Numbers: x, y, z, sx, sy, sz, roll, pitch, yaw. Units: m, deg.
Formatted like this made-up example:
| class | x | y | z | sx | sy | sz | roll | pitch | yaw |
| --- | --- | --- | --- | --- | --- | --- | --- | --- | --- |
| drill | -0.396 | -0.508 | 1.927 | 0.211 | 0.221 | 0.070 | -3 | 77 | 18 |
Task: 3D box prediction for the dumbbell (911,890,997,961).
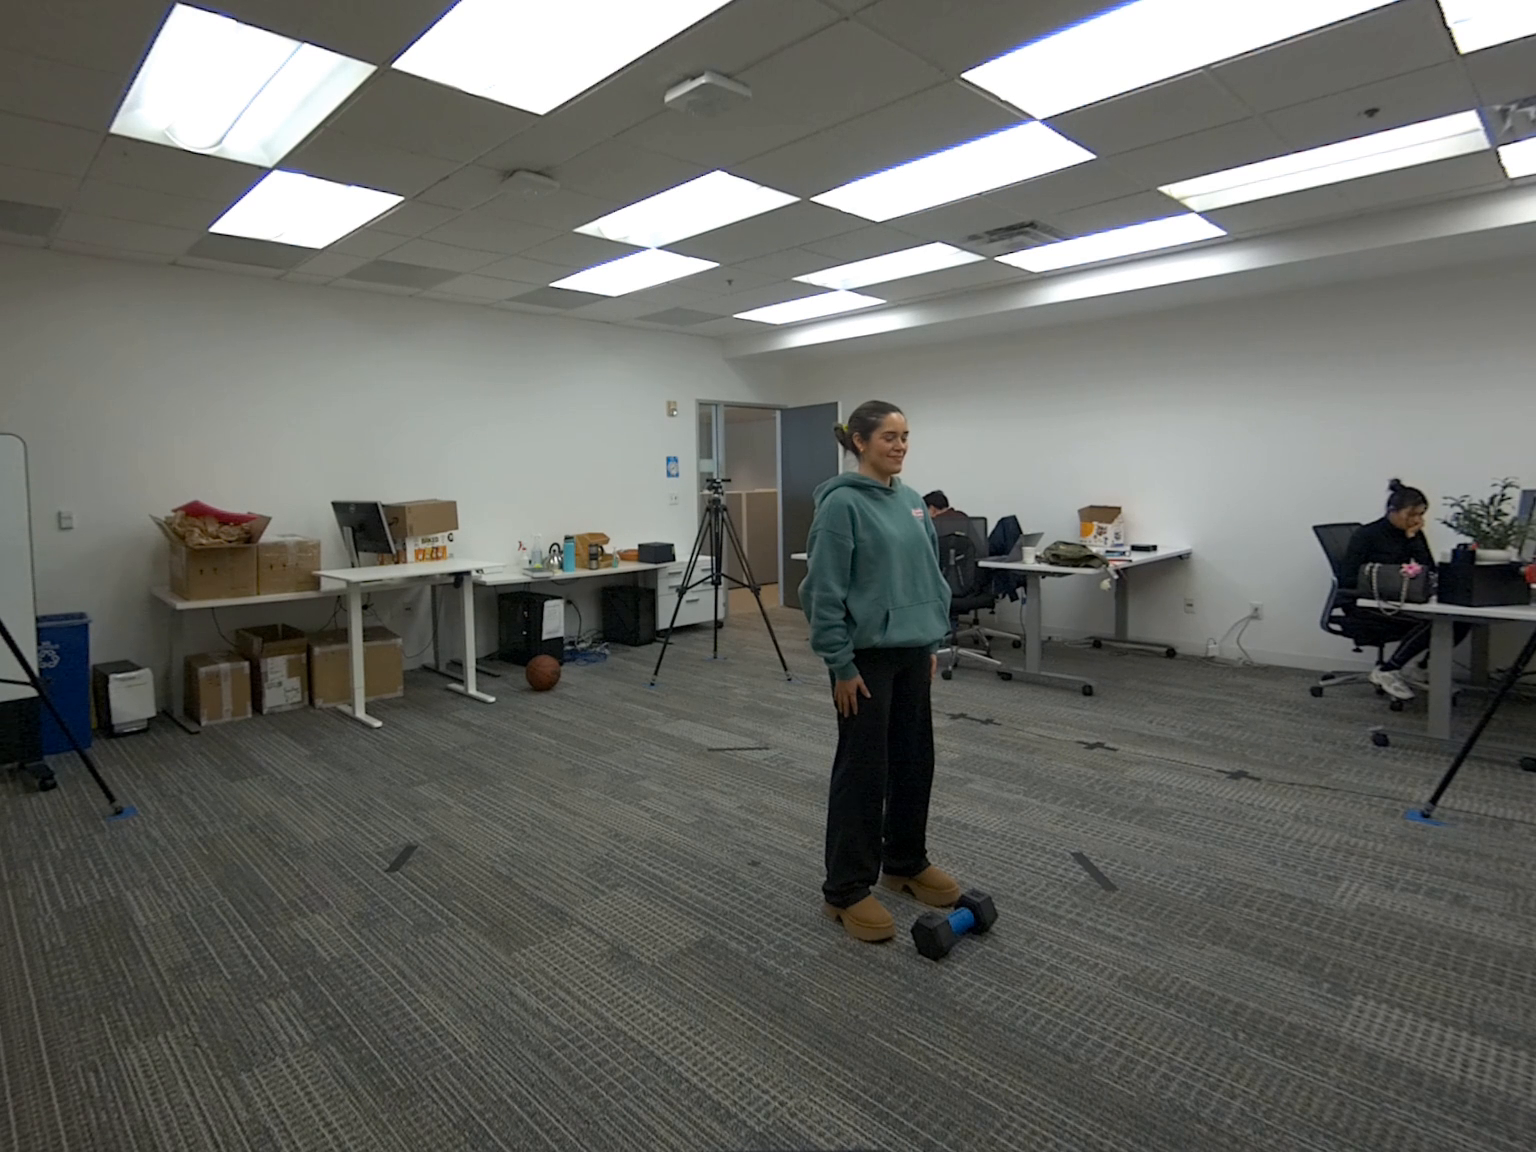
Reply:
| class | x | y | z | sx | sy | sz | roll | pitch | yaw |
| --- | --- | --- | --- | --- | --- | --- | --- | --- | --- |
| dumbbell | 0.565 | 1.043 | 2.563 | 0.286 | 0.121 | 0.113 | -6 | 39 | -40 |
